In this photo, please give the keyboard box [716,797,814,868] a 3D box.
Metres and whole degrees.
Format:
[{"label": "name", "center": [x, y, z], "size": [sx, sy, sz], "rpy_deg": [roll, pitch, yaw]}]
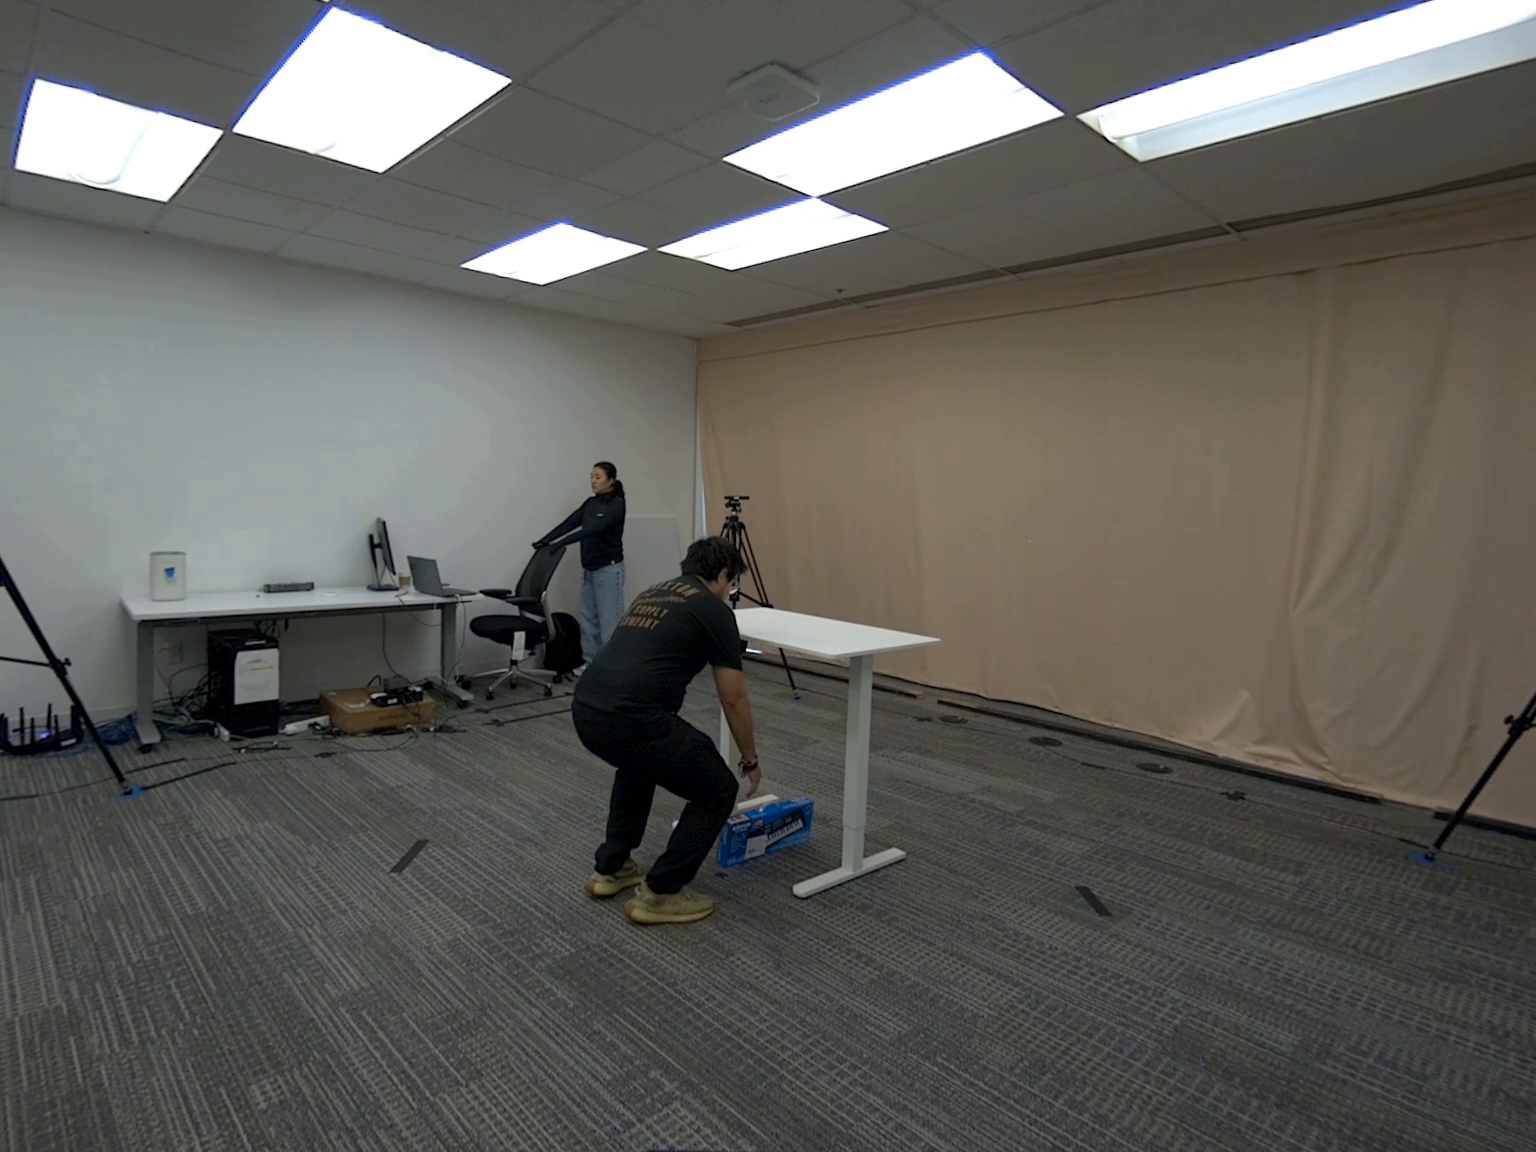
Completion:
[{"label": "keyboard box", "center": [-0.014, 1.001, 3.309], "size": [0.427, 0.175, 0.061], "rpy_deg": [-2, 12, -40]}]
